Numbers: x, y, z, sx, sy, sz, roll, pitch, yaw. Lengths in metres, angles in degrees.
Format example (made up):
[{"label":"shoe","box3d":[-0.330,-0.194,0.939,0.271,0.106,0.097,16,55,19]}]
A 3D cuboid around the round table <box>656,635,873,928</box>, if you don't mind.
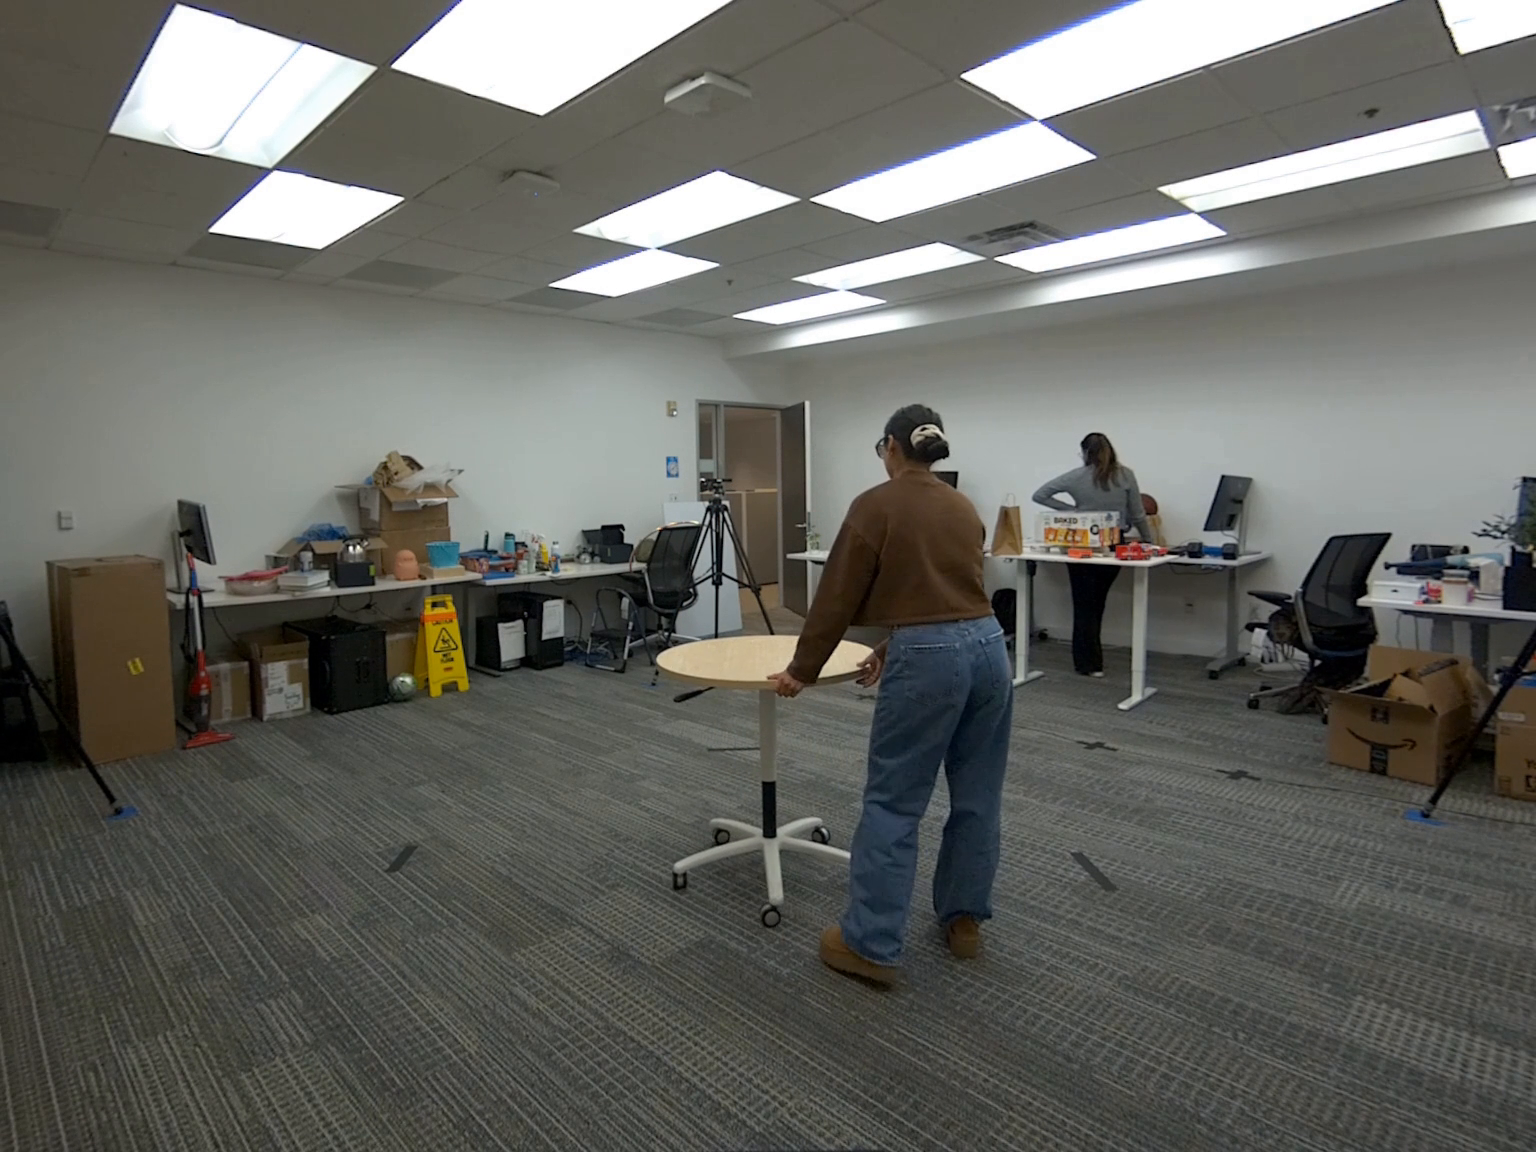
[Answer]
[{"label":"round table","box3d":[-0.009,0.662,2.992,0.784,0.783,0.789,-1,5,-2]}]
